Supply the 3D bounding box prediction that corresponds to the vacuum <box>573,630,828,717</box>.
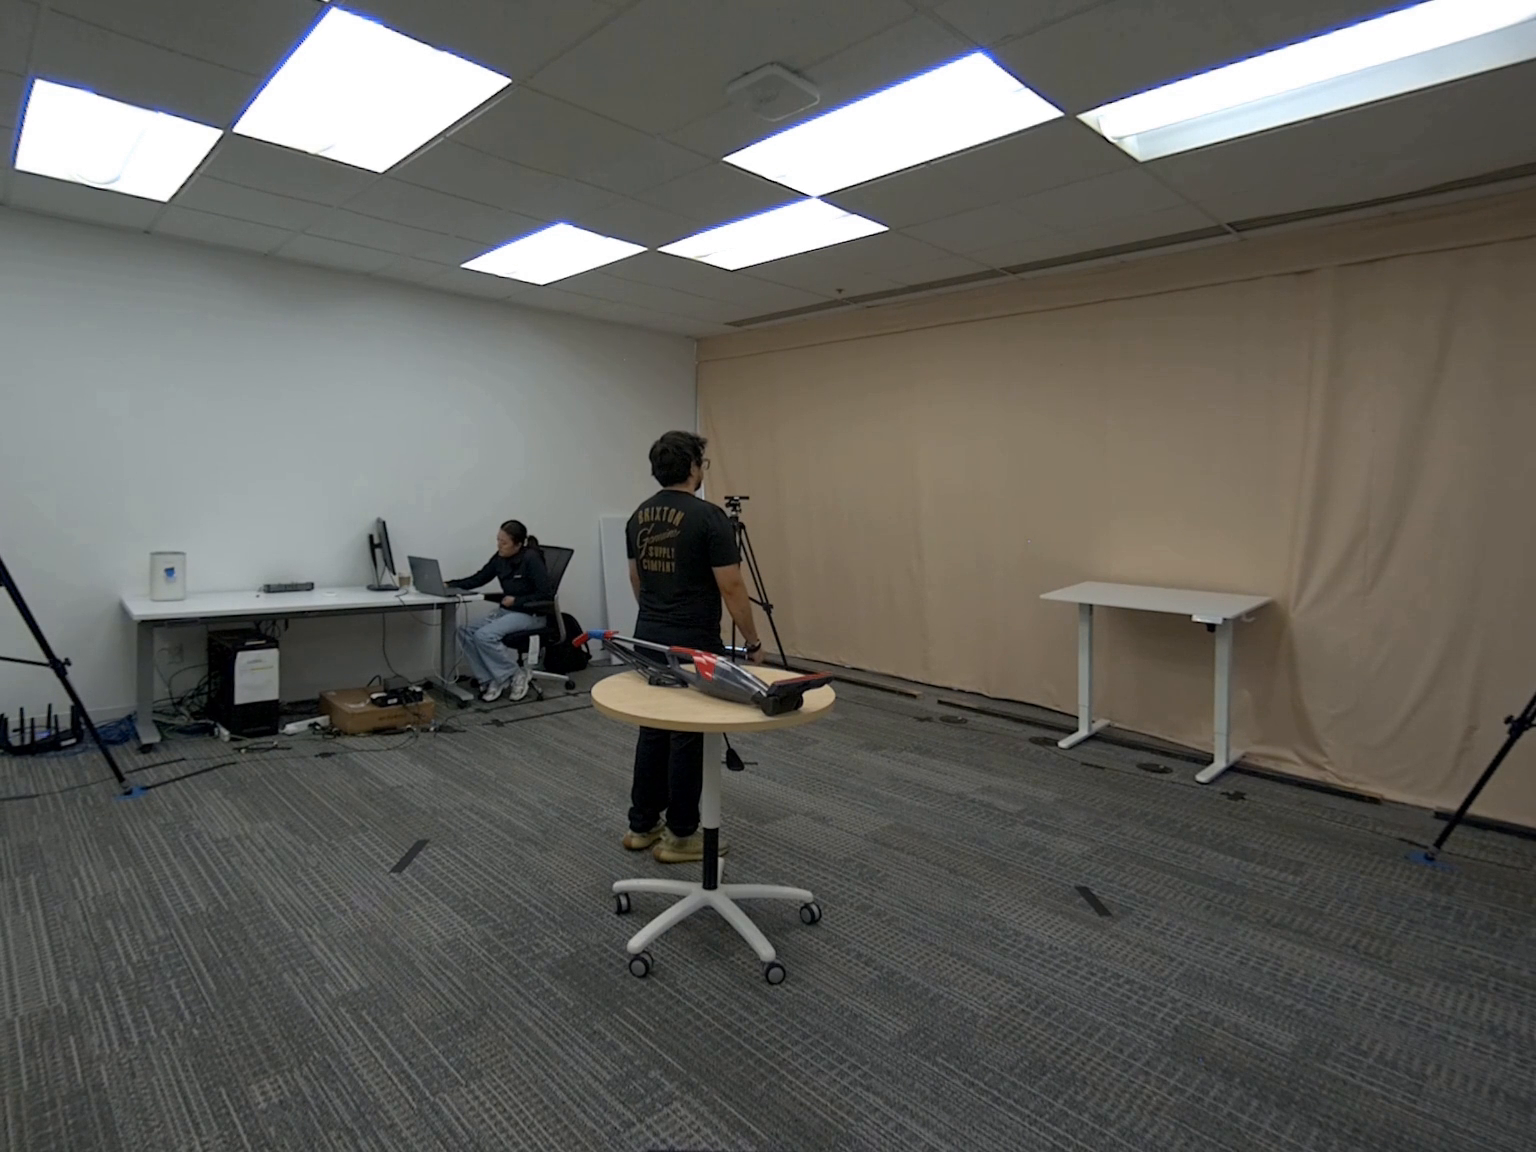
[{"bbox_3d":[-0.324,0.304,2.716,0.246,0.144,1.077,4,3,-45],"label":"vacuum"}]
